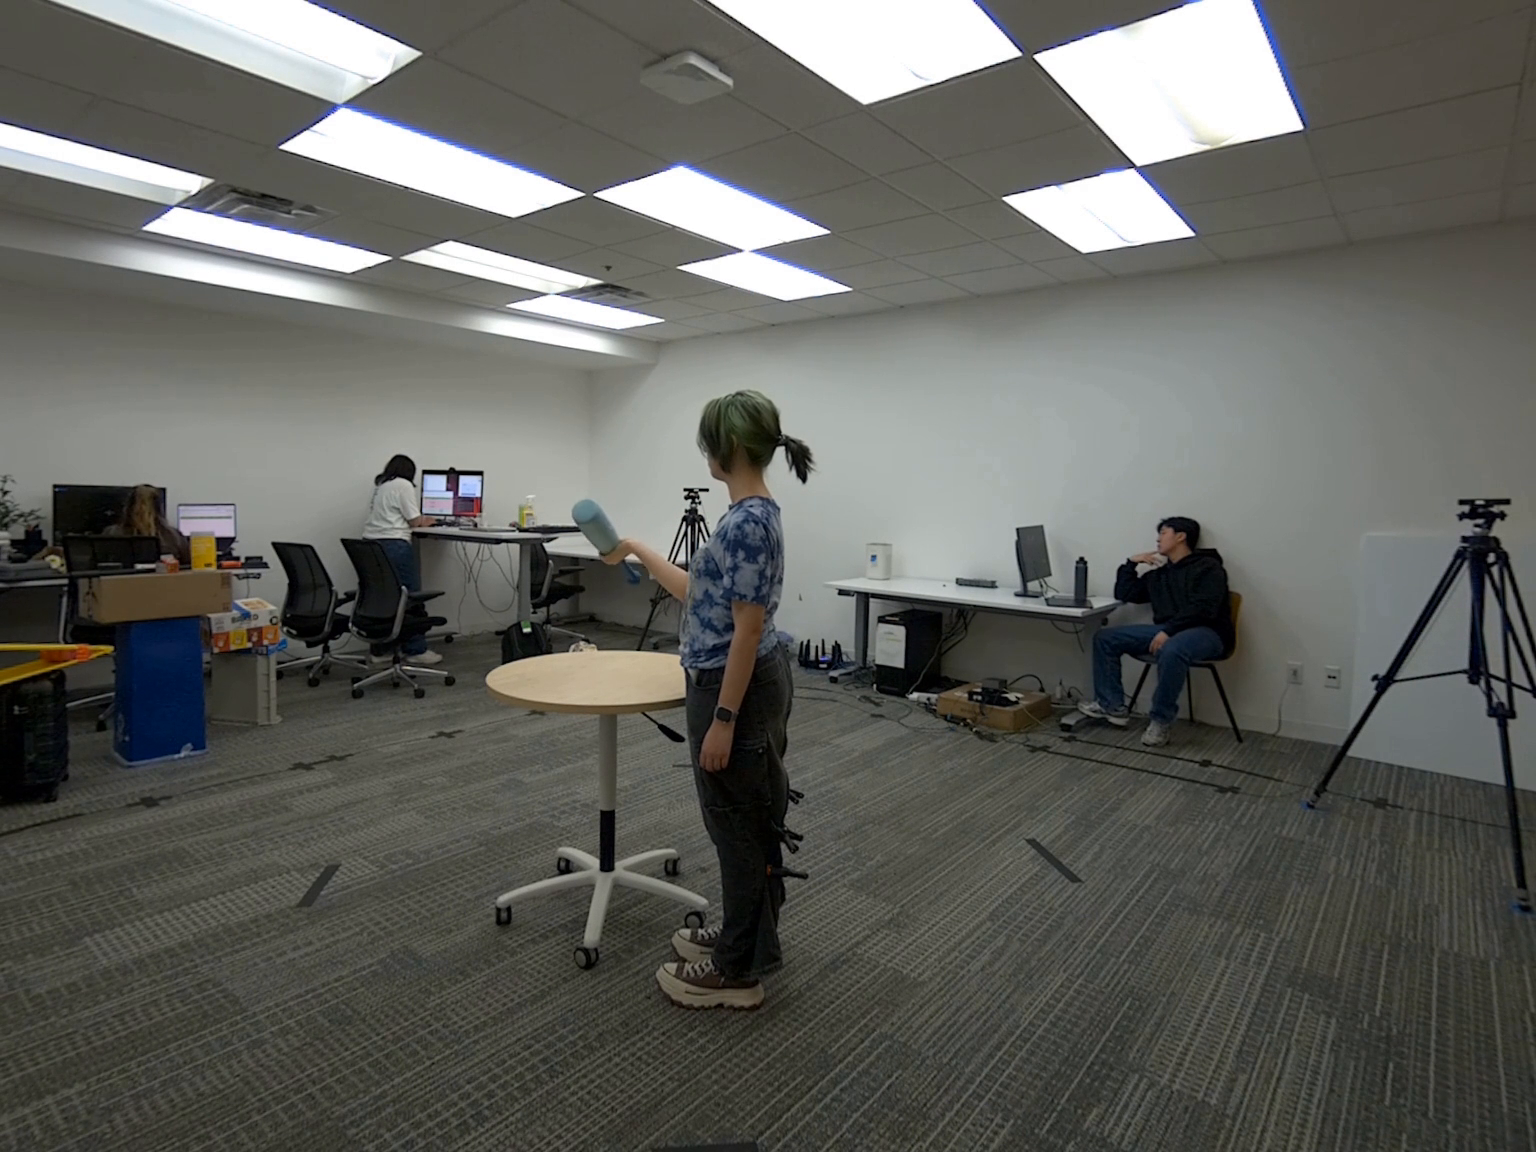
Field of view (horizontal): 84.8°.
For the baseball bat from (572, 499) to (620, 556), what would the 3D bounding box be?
[{"bbox_3d":[-0.514,-0.087,2.713,0.090,0.090,0.525,2,-23,12],"label":"baseball bat"}]
